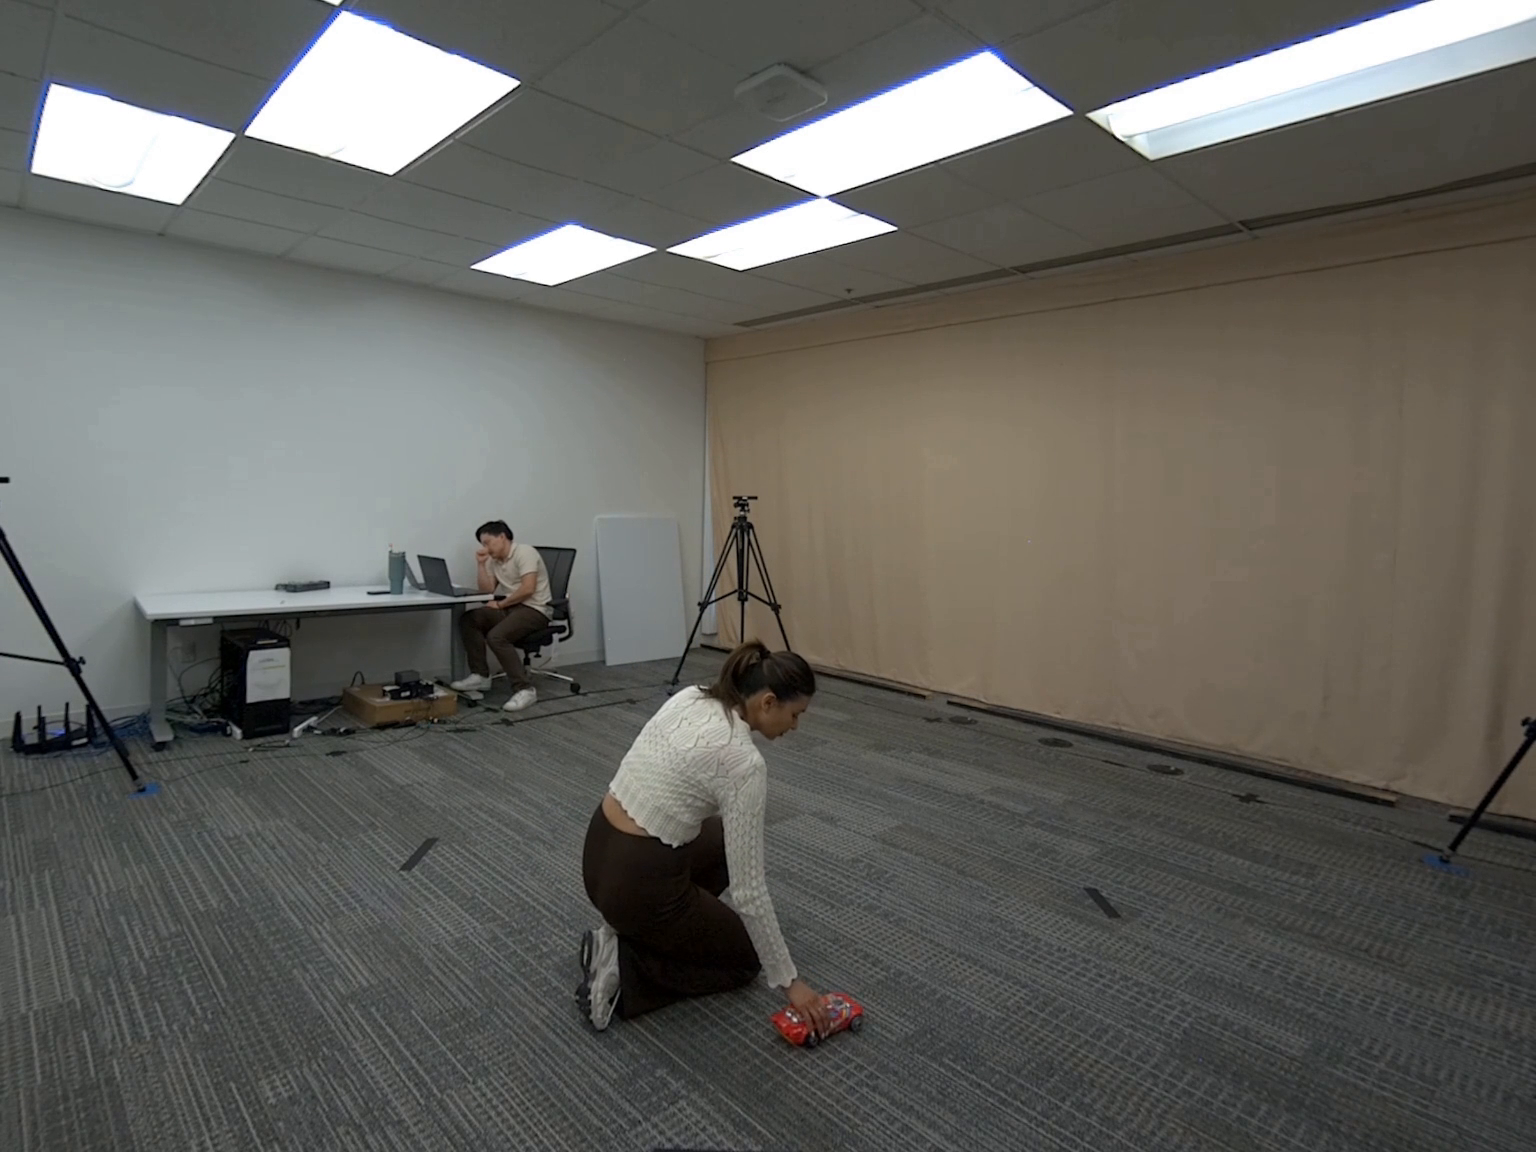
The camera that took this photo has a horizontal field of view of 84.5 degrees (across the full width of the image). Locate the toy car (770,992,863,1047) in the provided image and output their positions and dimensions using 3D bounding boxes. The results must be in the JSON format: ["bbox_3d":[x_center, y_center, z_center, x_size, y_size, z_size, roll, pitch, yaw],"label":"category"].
[{"bbox_3d":[0.120,1.166,2.199,0.248,0.083,0.133,10,0,-31],"label":"toy car"}]
